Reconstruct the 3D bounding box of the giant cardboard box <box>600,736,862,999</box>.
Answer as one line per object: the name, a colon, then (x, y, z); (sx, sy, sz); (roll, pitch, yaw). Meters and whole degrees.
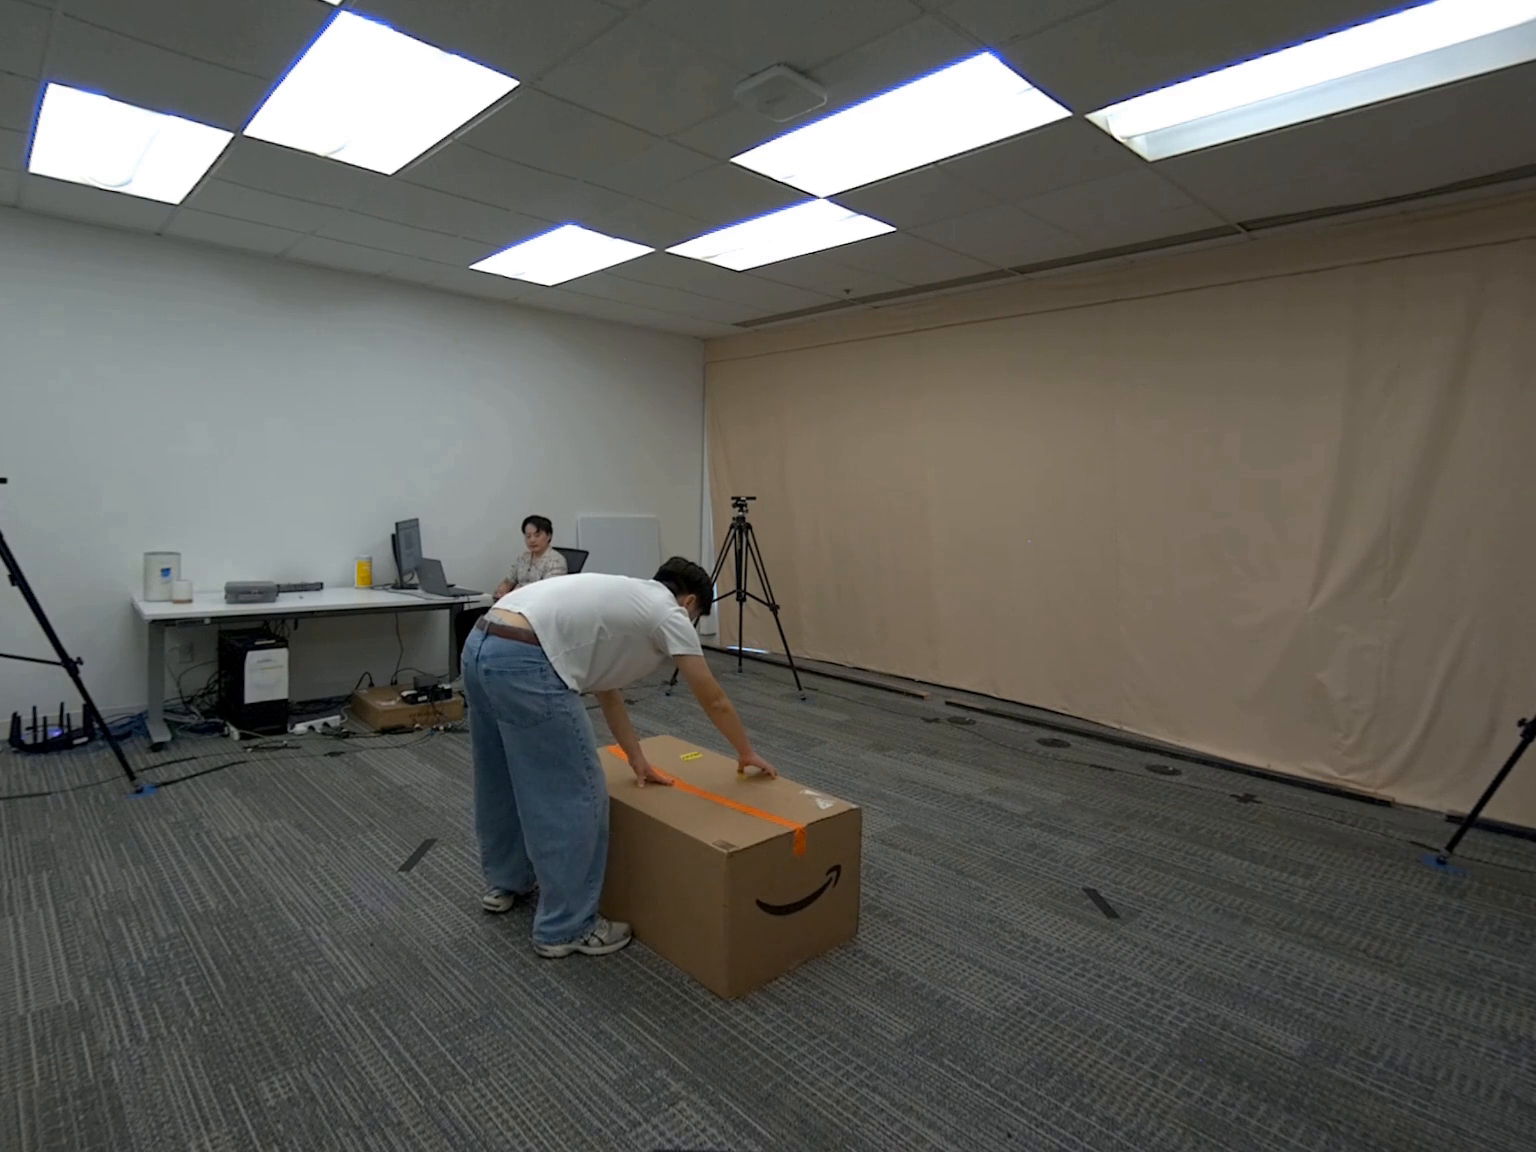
giant cardboard box: (-0.261, 0.916, 2.875); (0.564, 0.425, 1.052); (-2, 6, -43)
